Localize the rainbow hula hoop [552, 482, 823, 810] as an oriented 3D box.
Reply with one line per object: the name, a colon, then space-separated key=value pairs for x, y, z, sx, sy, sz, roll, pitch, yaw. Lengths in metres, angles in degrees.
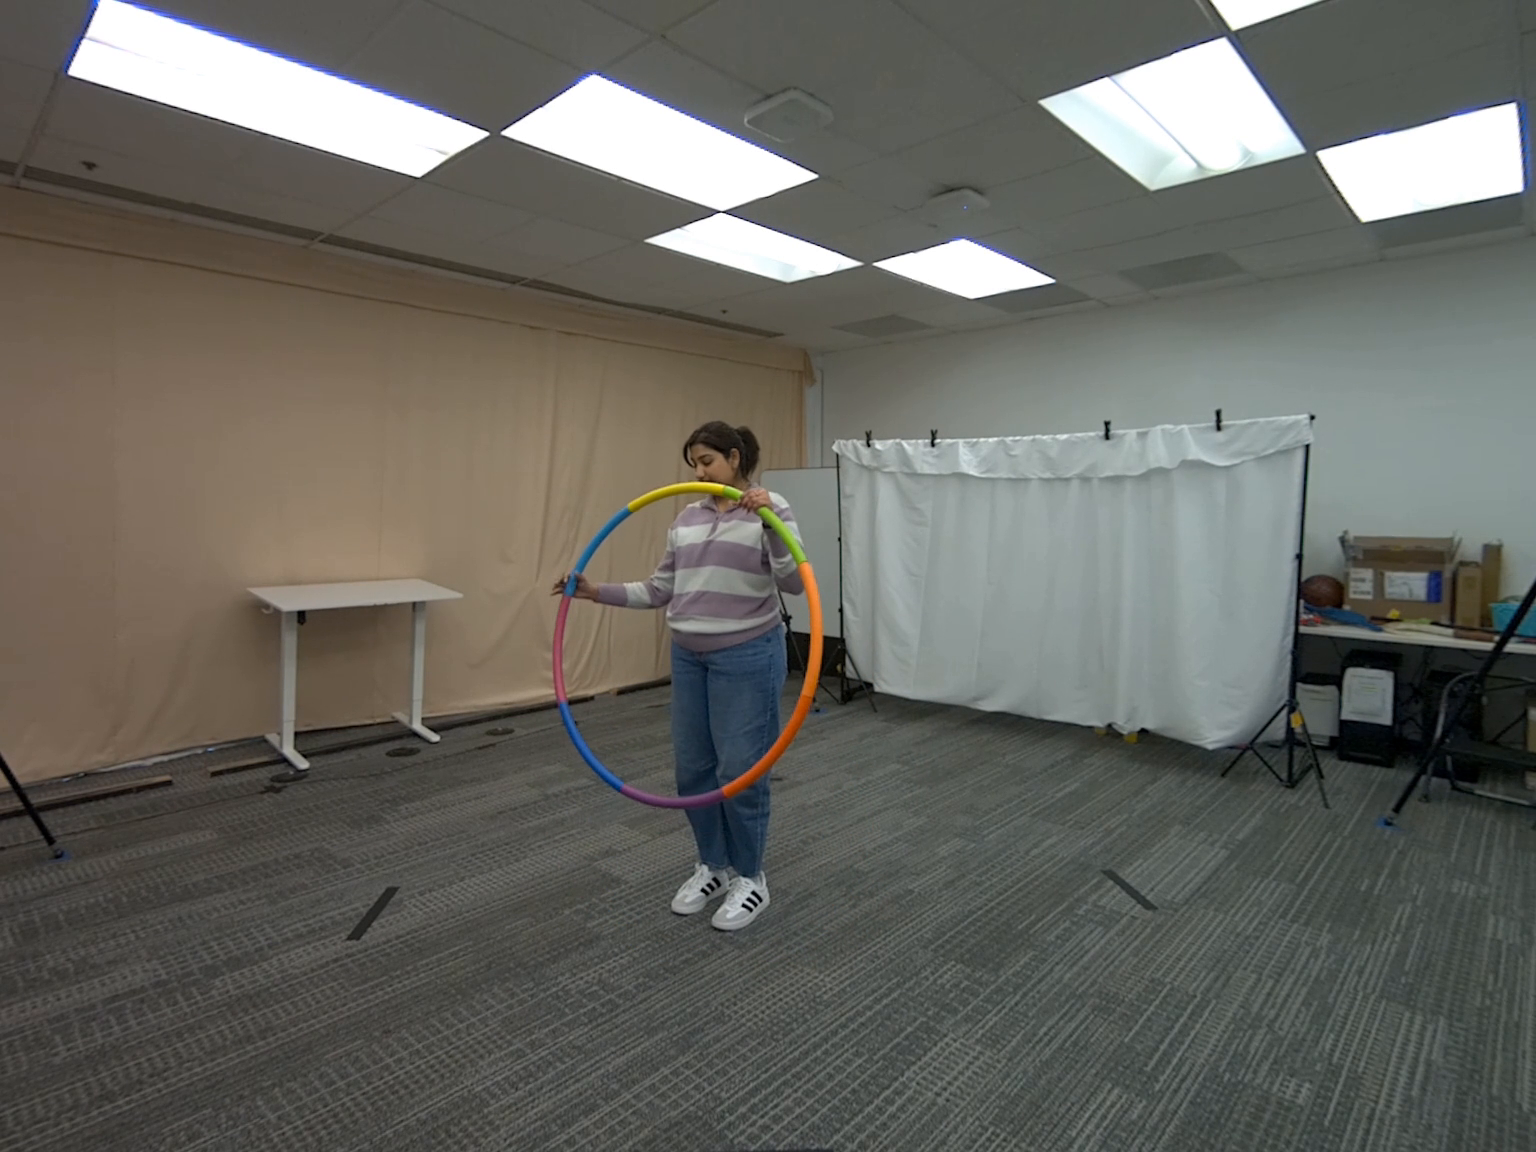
rainbow hula hoop: x=-0.273 y=0.196 z=2.571 sx=1.007 sy=0.983 sz=0.034 roll=2 pitch=-10 yaw=30
